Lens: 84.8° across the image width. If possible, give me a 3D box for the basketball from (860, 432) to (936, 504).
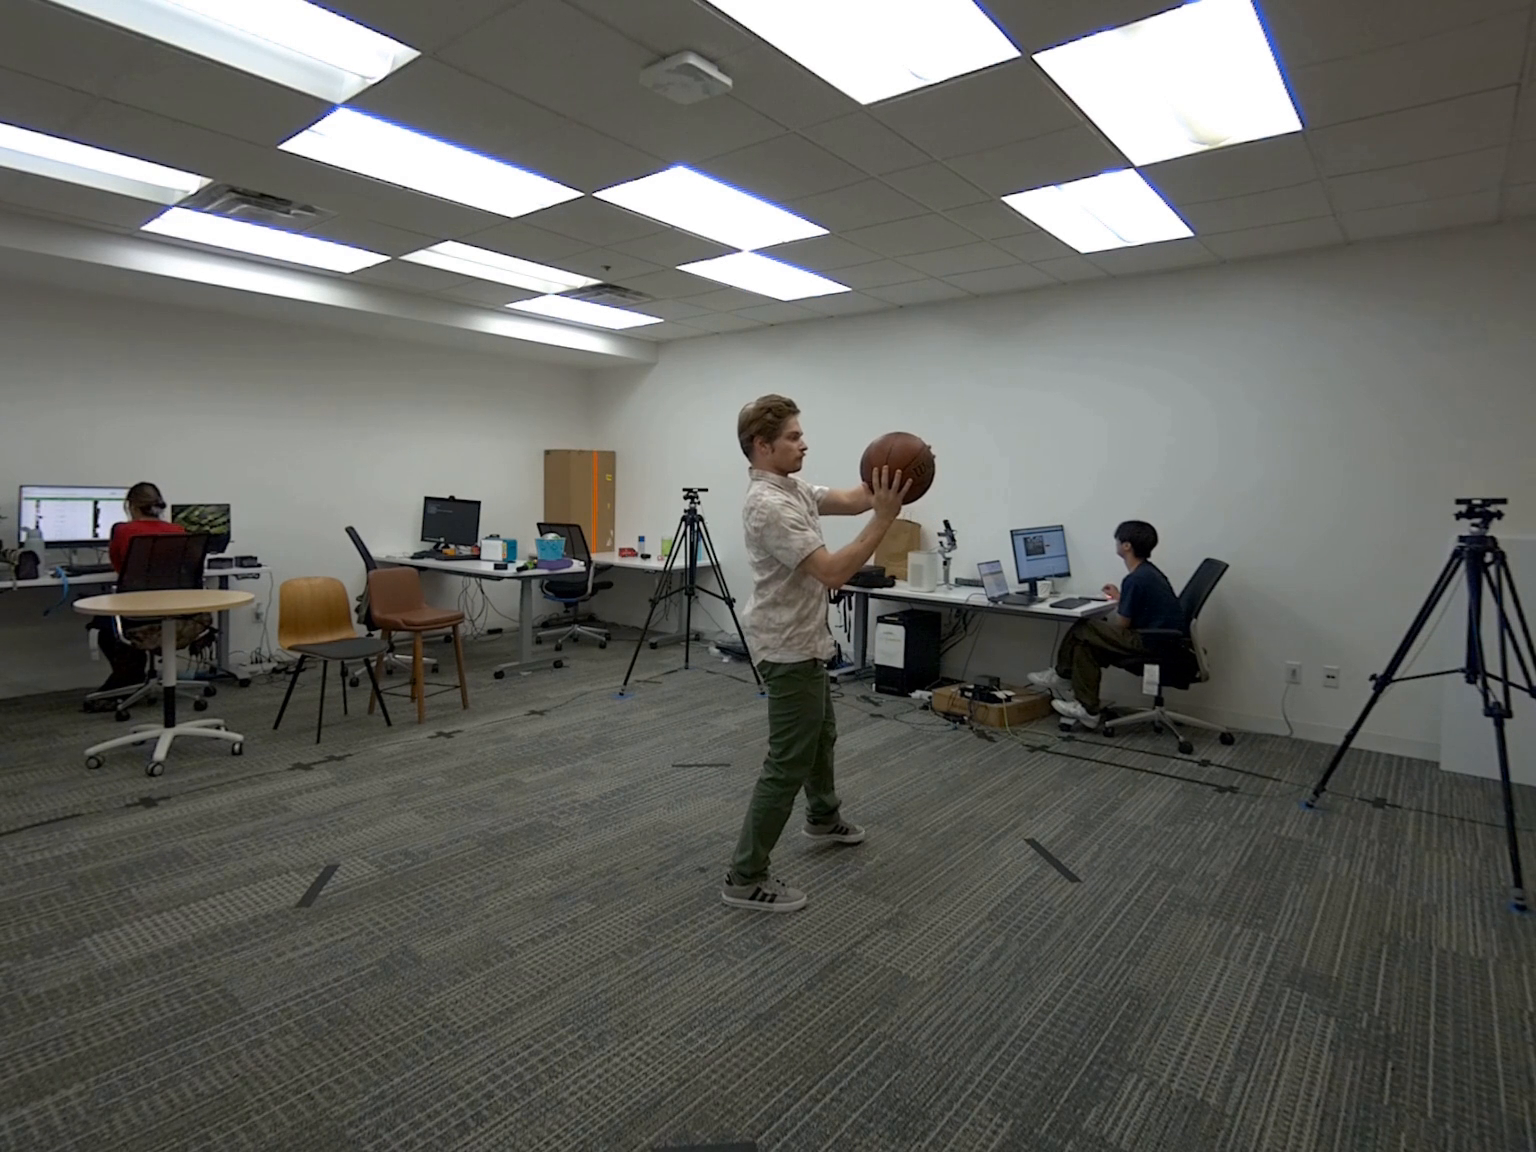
[{"bbox_3d":[0.419,-0.352,2.761,0.235,0.235,0.237,1,4,-2],"label":"basketball"}]
